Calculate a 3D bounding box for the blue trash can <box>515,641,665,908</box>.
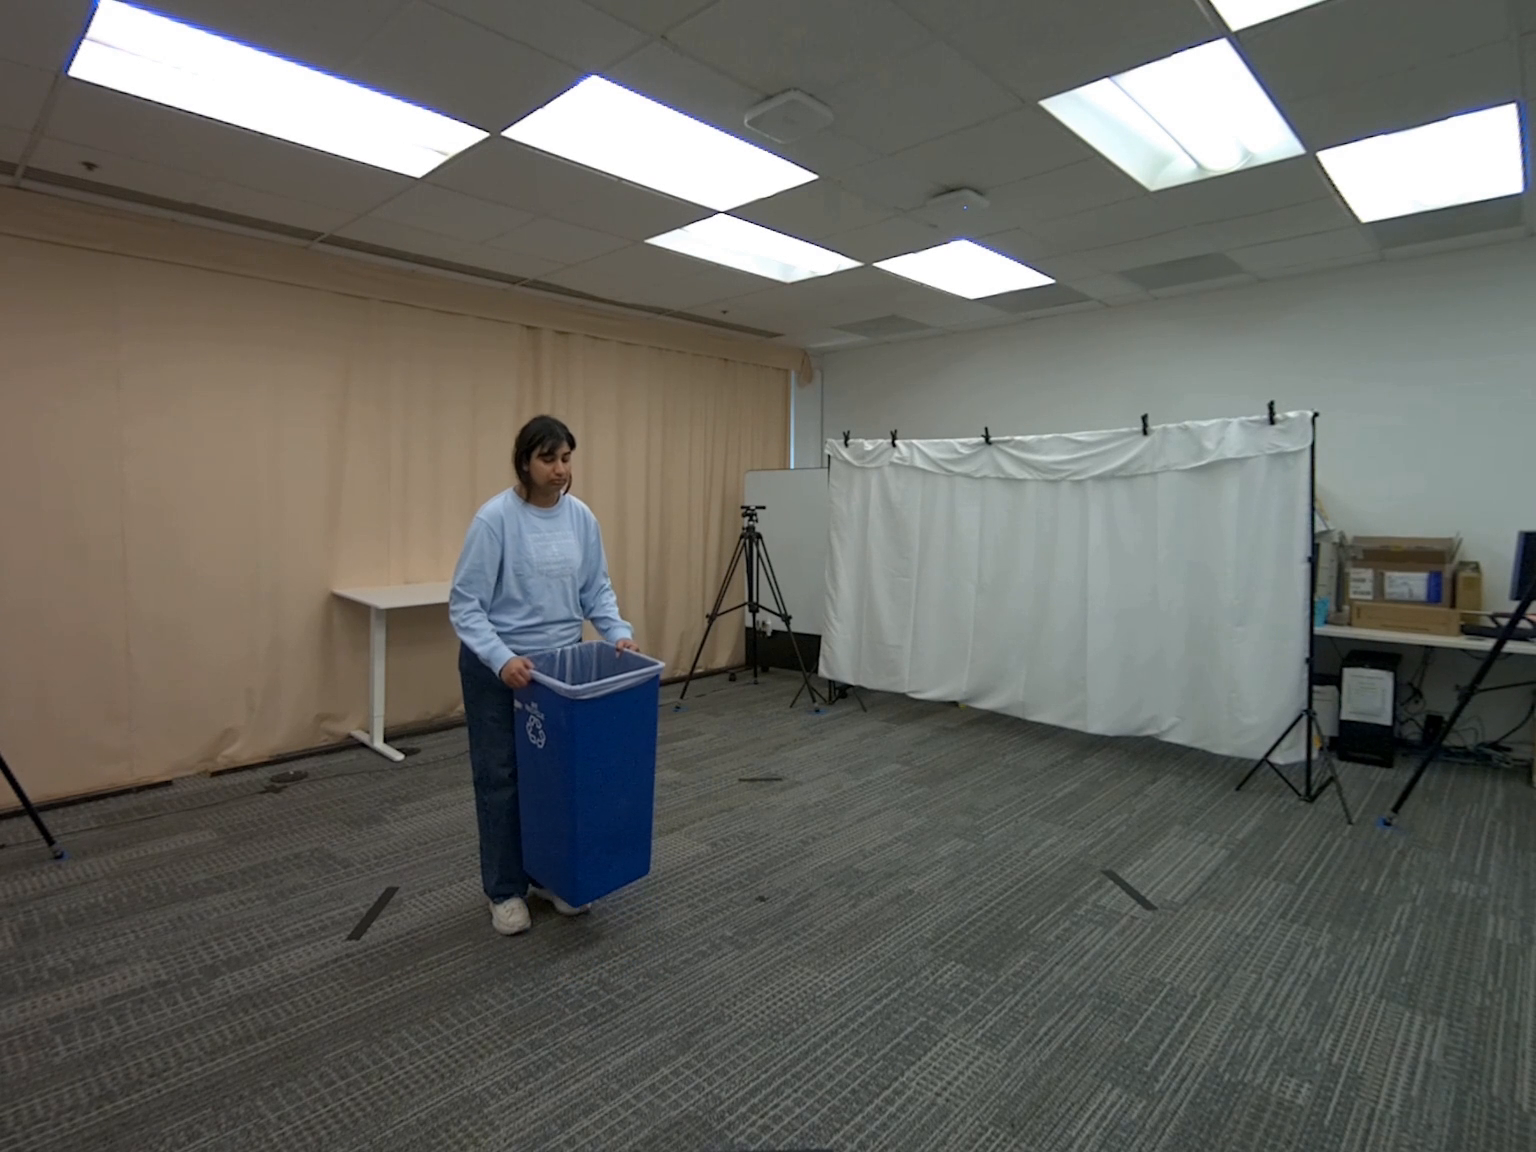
[{"bbox_3d":[-0.569,0.621,2.665,0.387,0.709,0.367,11,14,43],"label":"blue trash can"}]
